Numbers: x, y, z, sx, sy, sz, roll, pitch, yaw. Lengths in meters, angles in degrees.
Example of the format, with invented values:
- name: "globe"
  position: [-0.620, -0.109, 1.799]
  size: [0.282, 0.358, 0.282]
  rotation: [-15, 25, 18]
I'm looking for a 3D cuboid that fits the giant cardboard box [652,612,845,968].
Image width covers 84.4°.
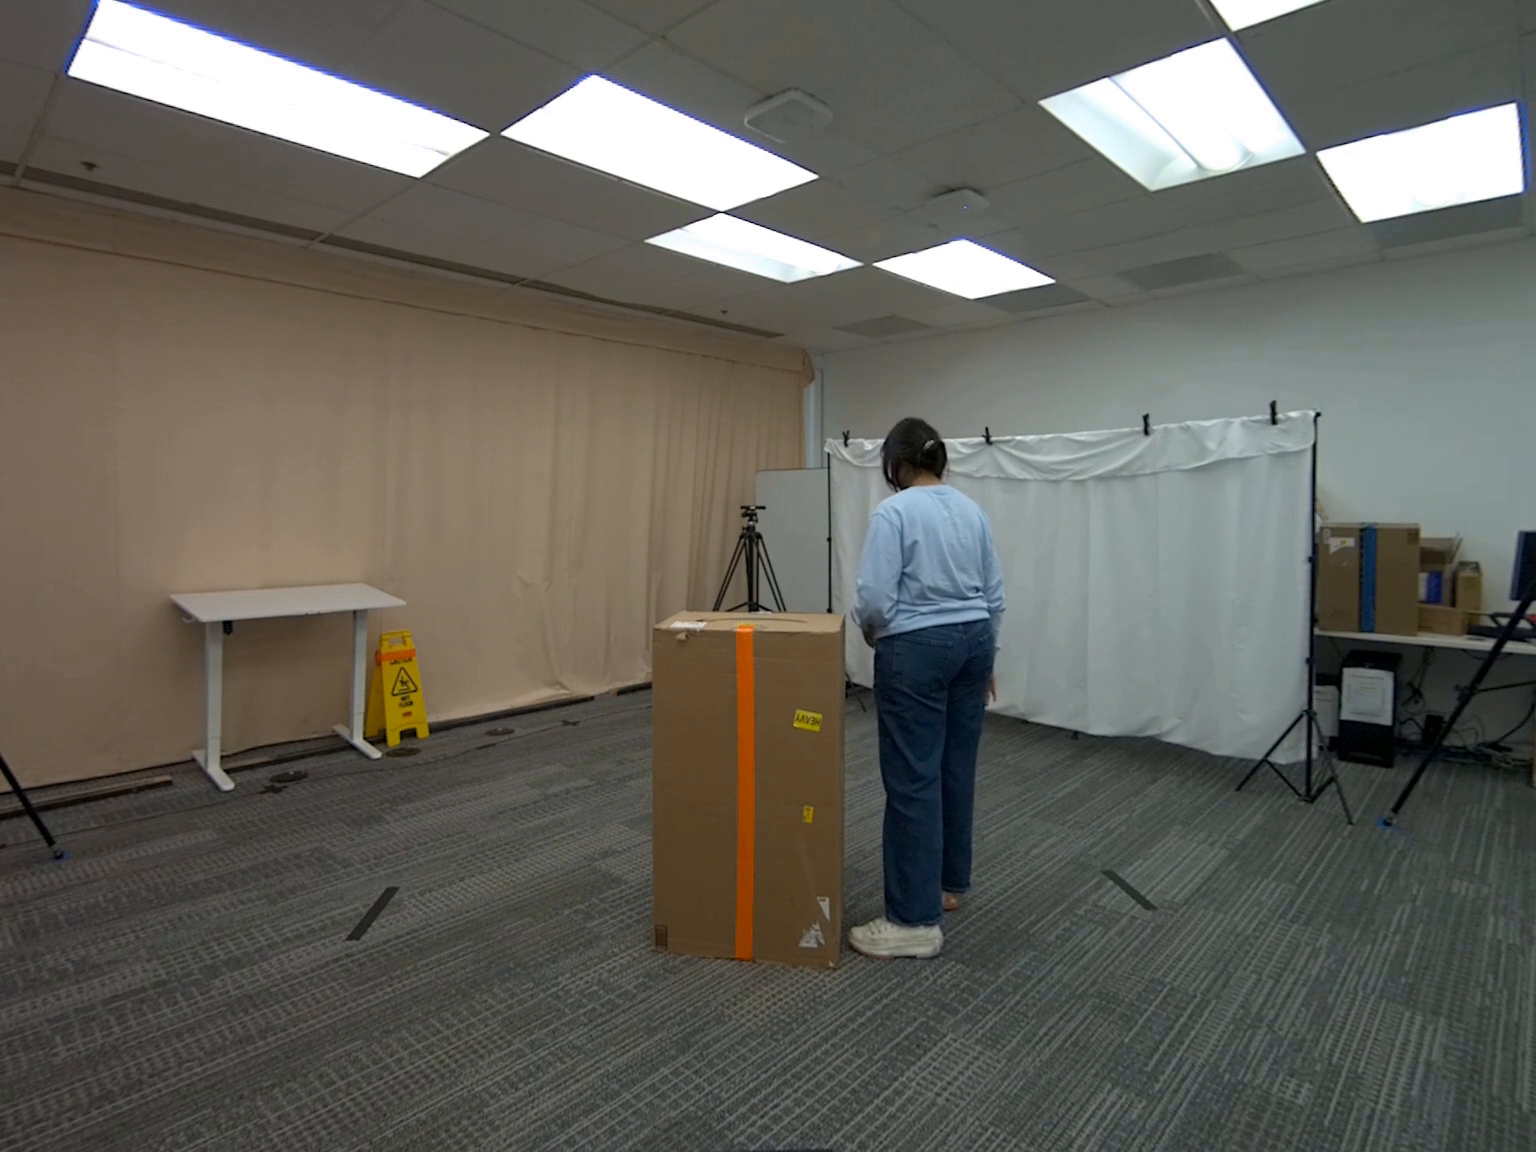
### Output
- name: "giant cardboard box"
  position: [-0.047, 0.657, 2.761]
  size: [0.584, 1.024, 0.422]
  rotation: [0, 3, 10]
